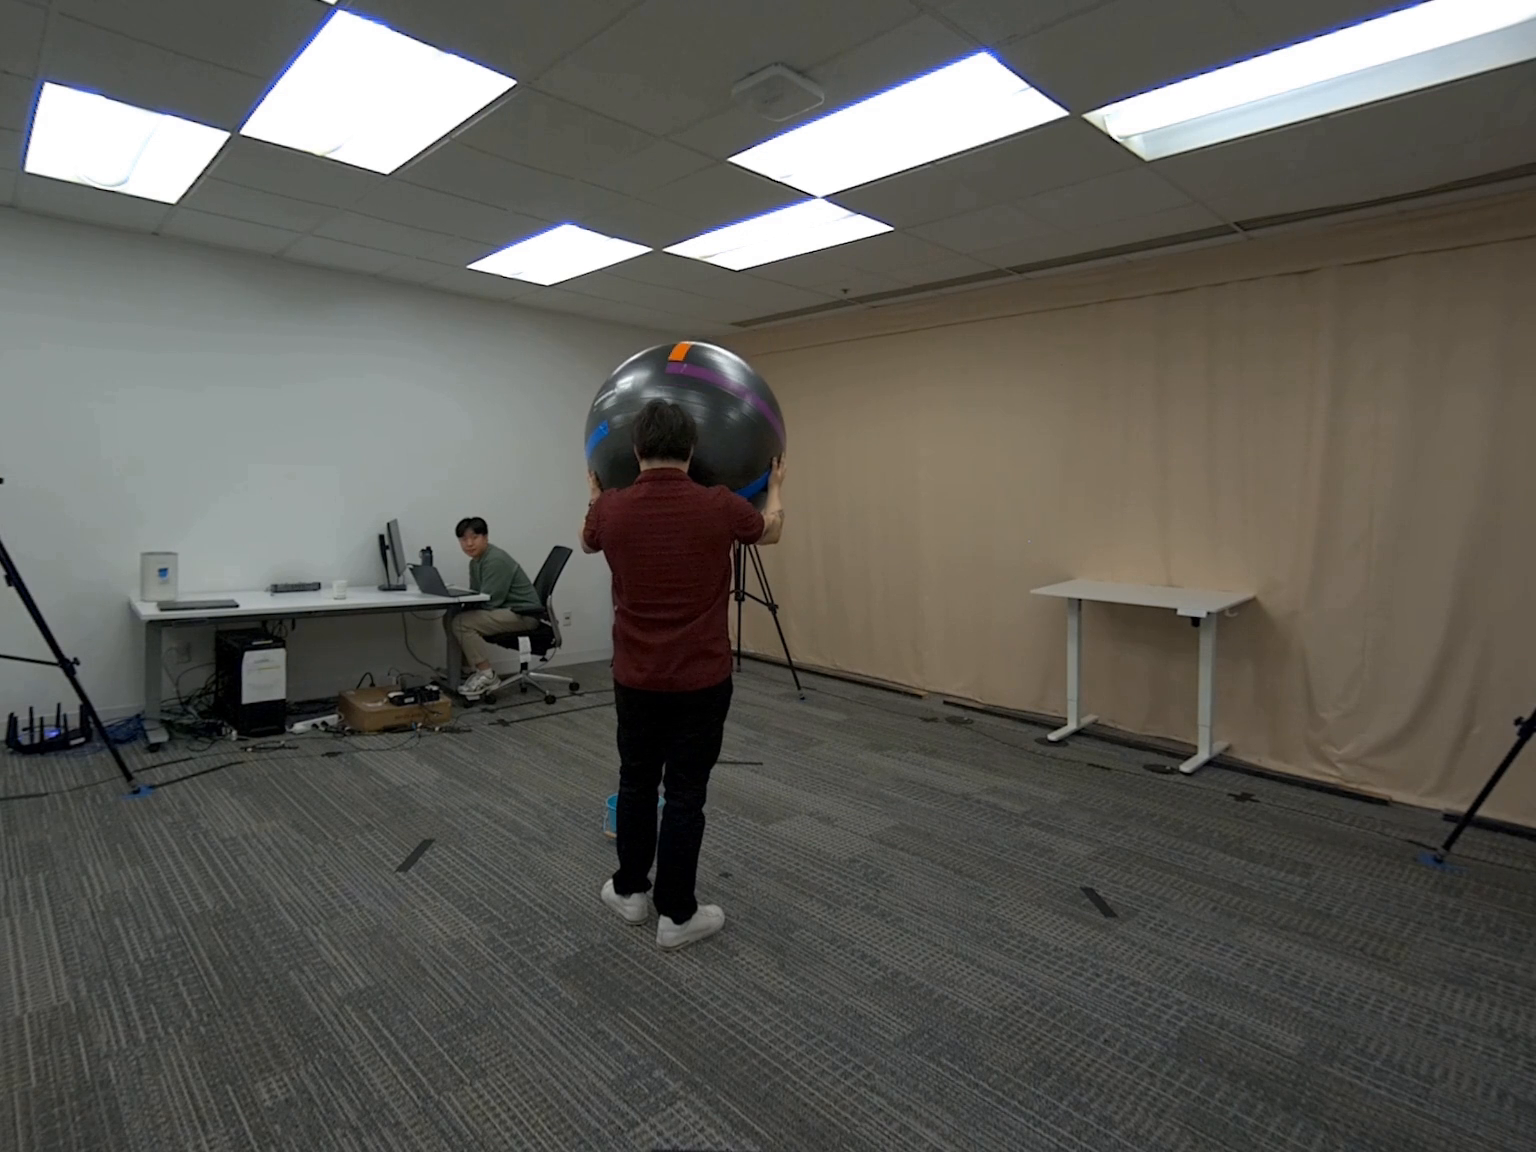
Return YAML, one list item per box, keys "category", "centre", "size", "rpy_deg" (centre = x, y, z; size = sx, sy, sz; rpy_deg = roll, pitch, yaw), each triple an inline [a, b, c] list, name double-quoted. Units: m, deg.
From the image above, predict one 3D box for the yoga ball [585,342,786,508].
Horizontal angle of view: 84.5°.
- category: "yoga ball"
  centre: [-0.319, -0.490, 3.168]
  size: [0.757, 0.756, 0.761]
  rpy_deg: [1, 4, -1]
